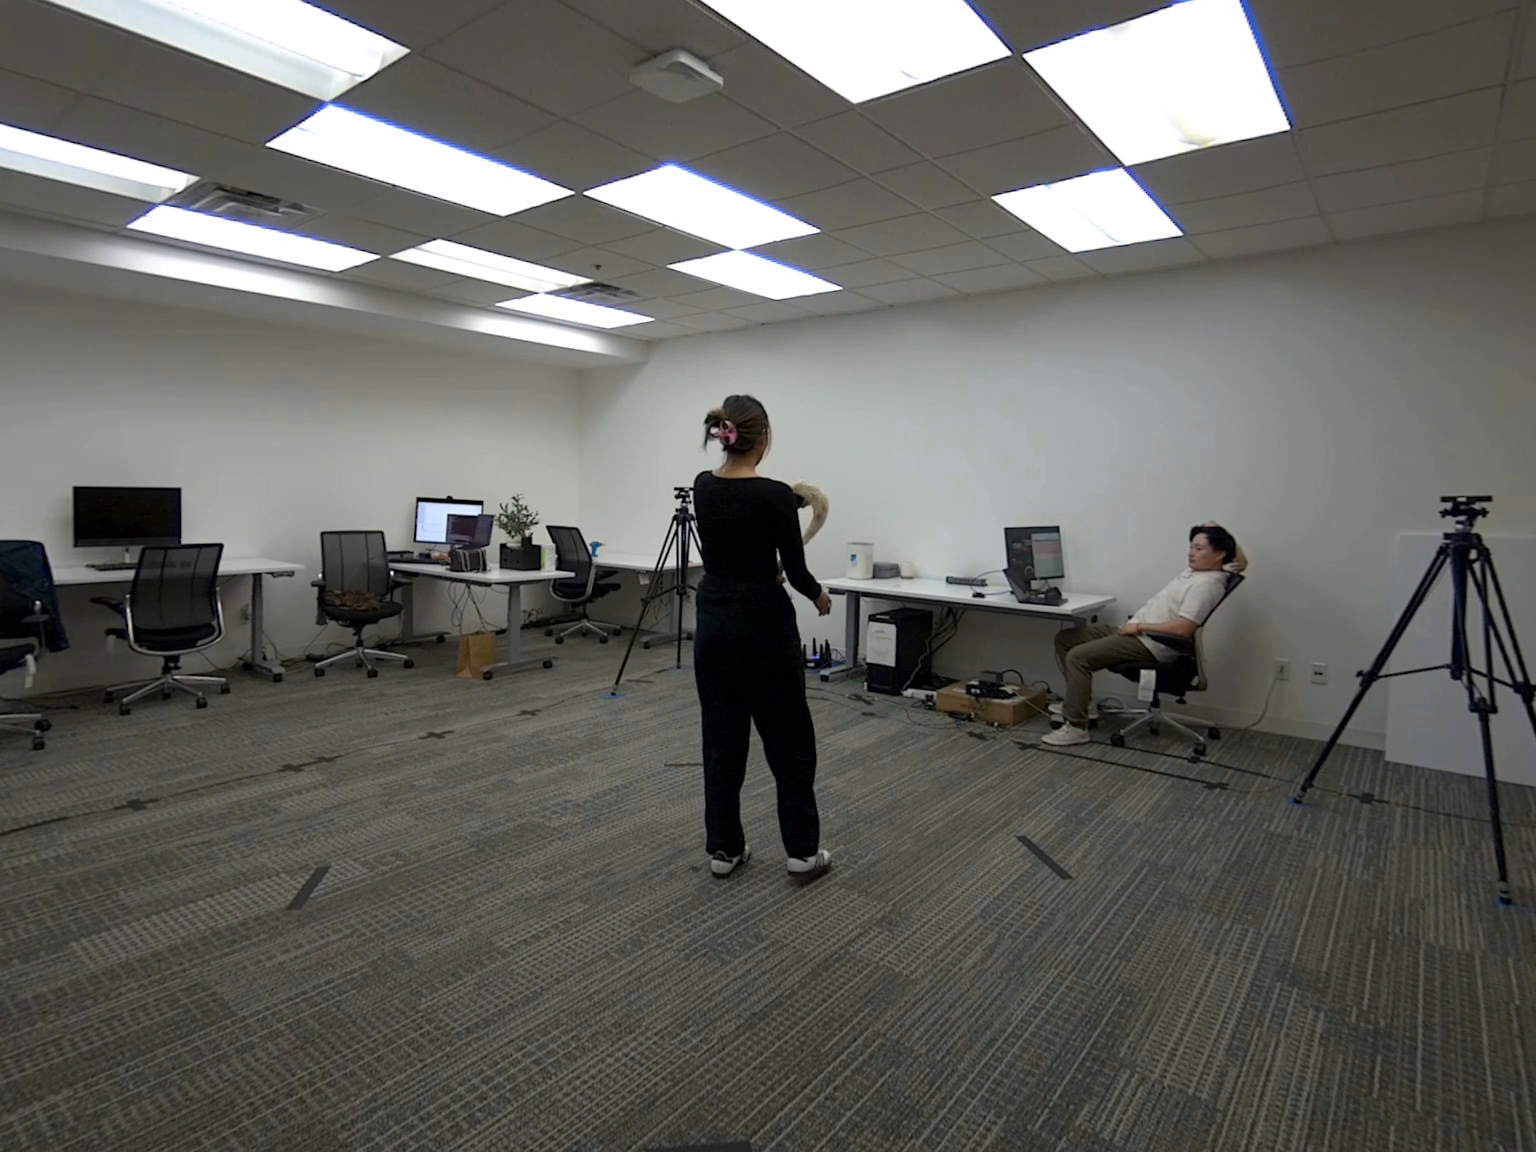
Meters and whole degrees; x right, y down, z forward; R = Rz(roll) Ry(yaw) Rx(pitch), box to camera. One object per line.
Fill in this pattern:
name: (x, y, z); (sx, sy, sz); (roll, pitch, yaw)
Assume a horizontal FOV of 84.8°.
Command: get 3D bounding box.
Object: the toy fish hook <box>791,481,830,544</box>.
toy fish hook: (0.064, -0.152, 3.468); (0.231, 0.505, 0.047); (28, 5, 20)
